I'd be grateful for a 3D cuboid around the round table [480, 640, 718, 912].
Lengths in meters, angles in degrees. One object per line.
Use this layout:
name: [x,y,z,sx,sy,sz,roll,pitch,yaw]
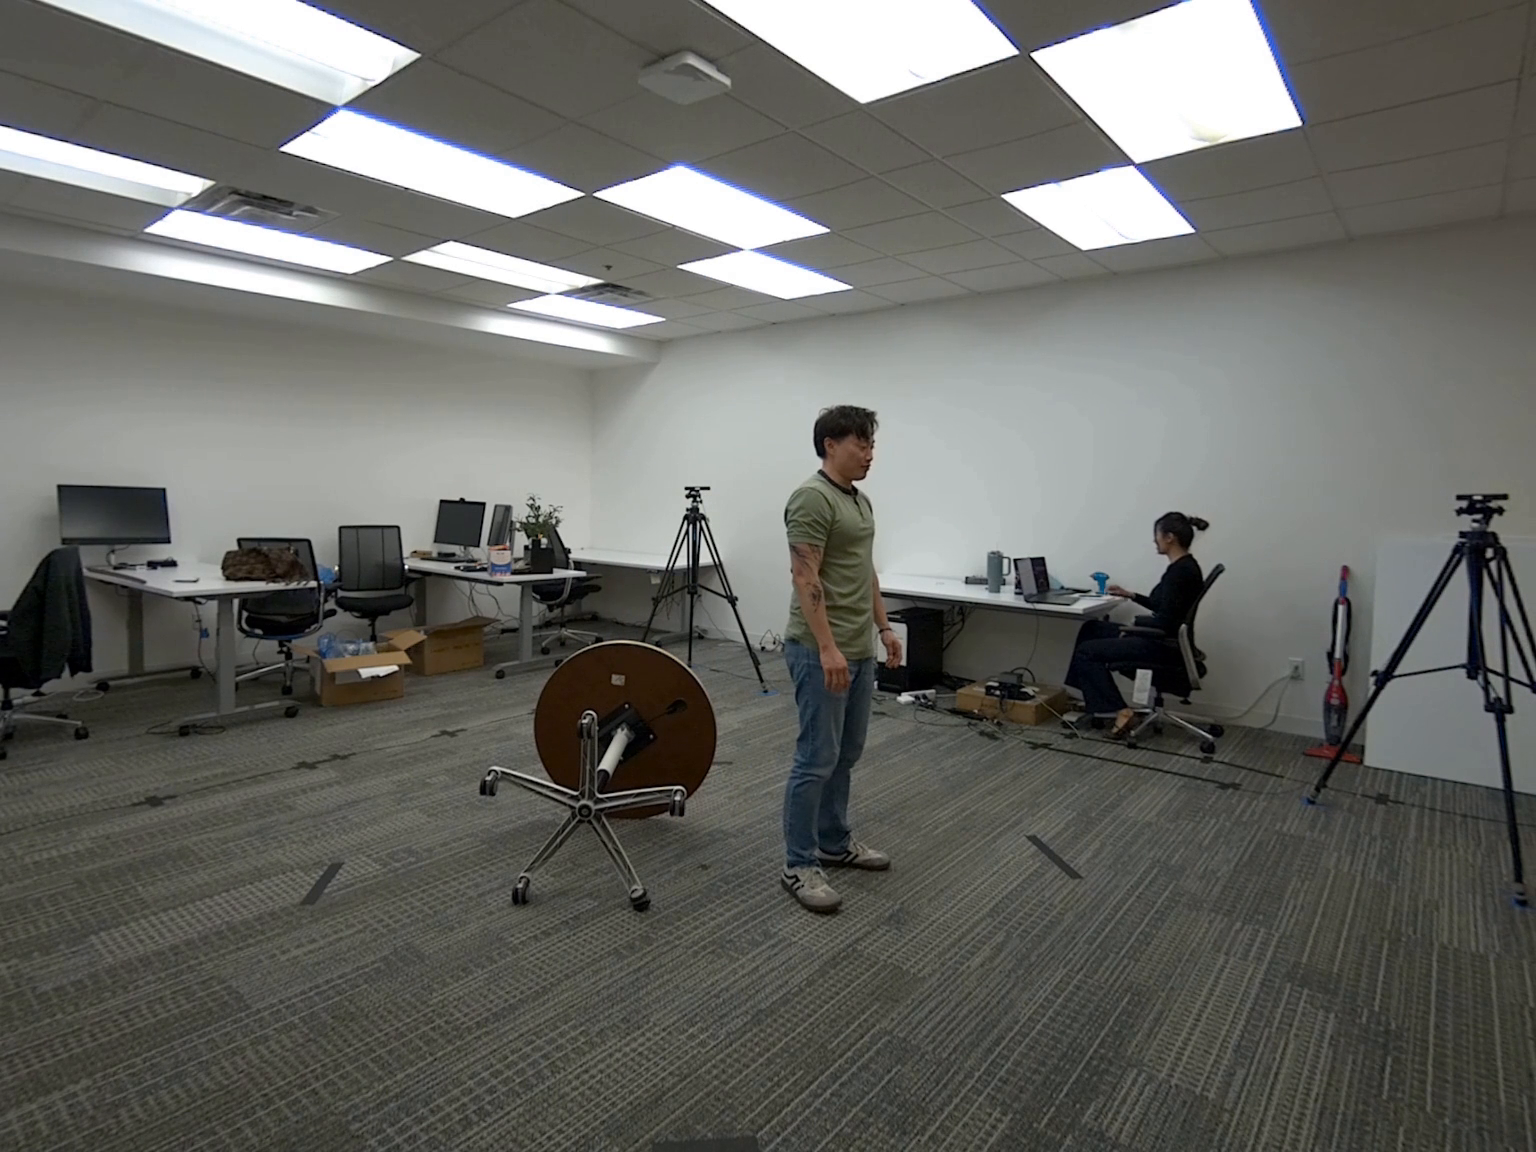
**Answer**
round table: [-0.604,0.723,3.130,0.766,0.757,0.799,1,11,2]
